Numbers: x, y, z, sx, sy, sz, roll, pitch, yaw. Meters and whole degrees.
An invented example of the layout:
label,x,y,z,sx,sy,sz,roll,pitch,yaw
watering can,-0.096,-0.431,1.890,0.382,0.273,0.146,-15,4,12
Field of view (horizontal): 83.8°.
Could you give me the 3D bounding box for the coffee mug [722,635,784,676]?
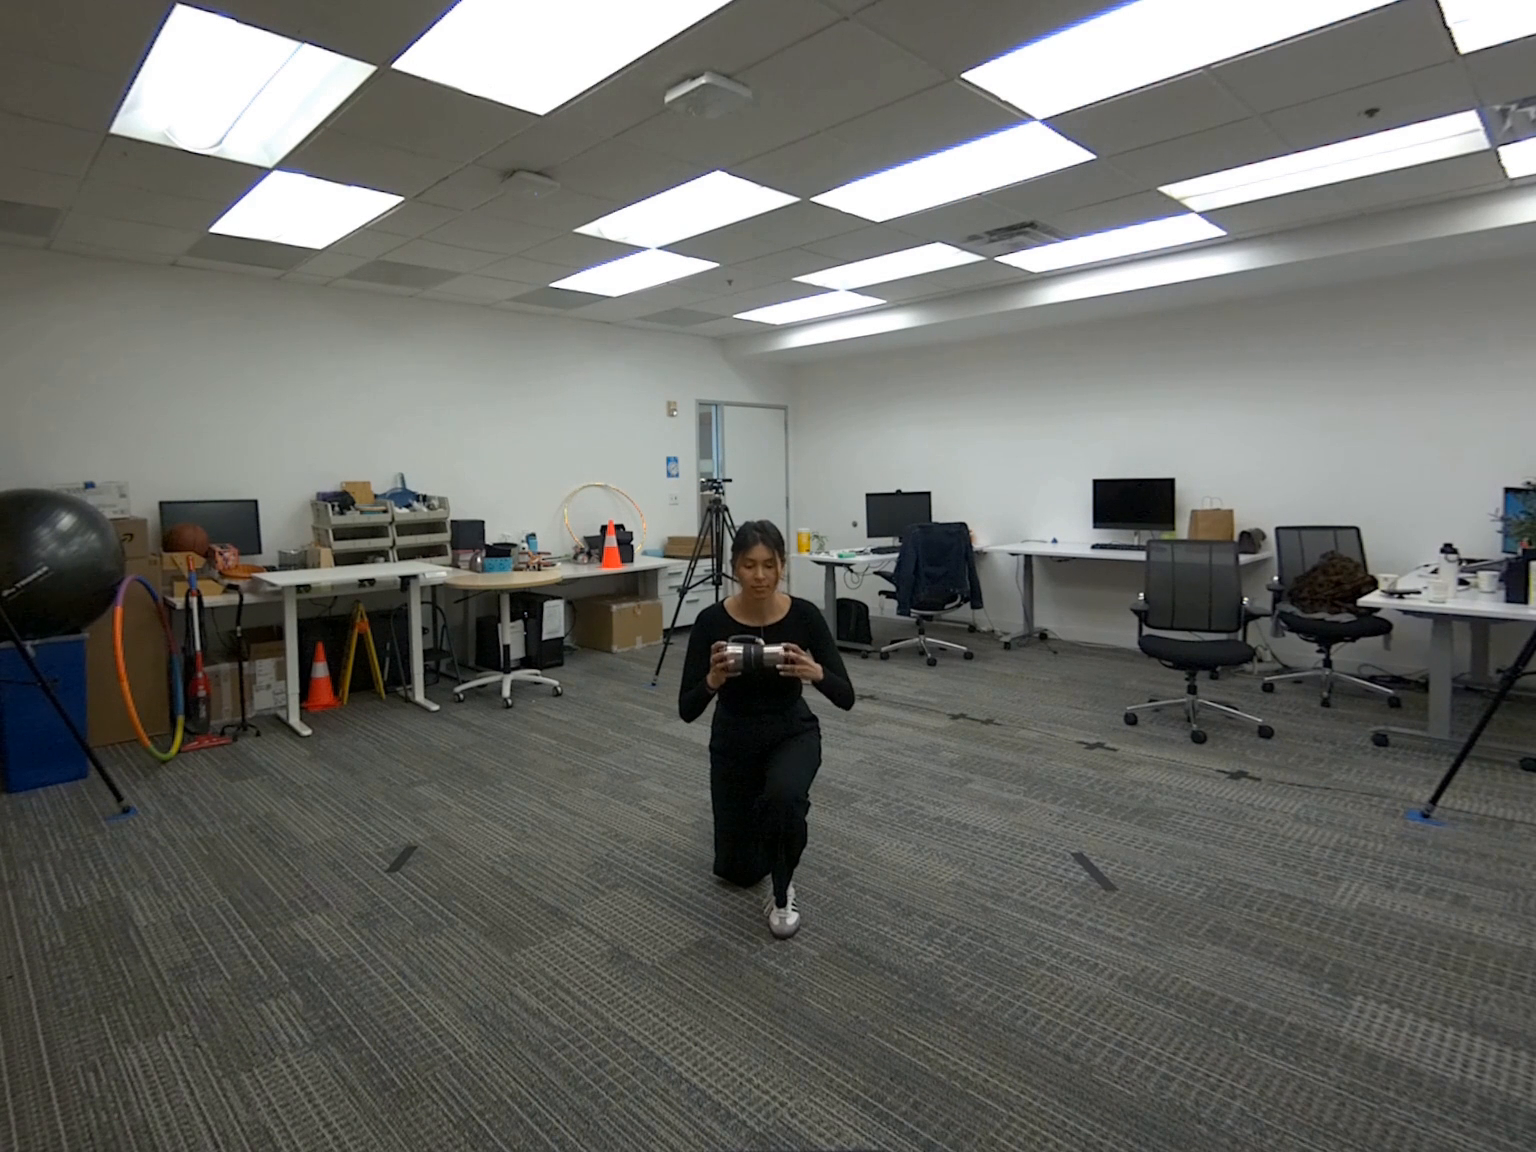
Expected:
label,x,y,z,sx,sy,sz,roll,pitch,yaw
coffee mug,-0.050,0.222,2.517,0.204,0.125,0.085,-10,-31,5
